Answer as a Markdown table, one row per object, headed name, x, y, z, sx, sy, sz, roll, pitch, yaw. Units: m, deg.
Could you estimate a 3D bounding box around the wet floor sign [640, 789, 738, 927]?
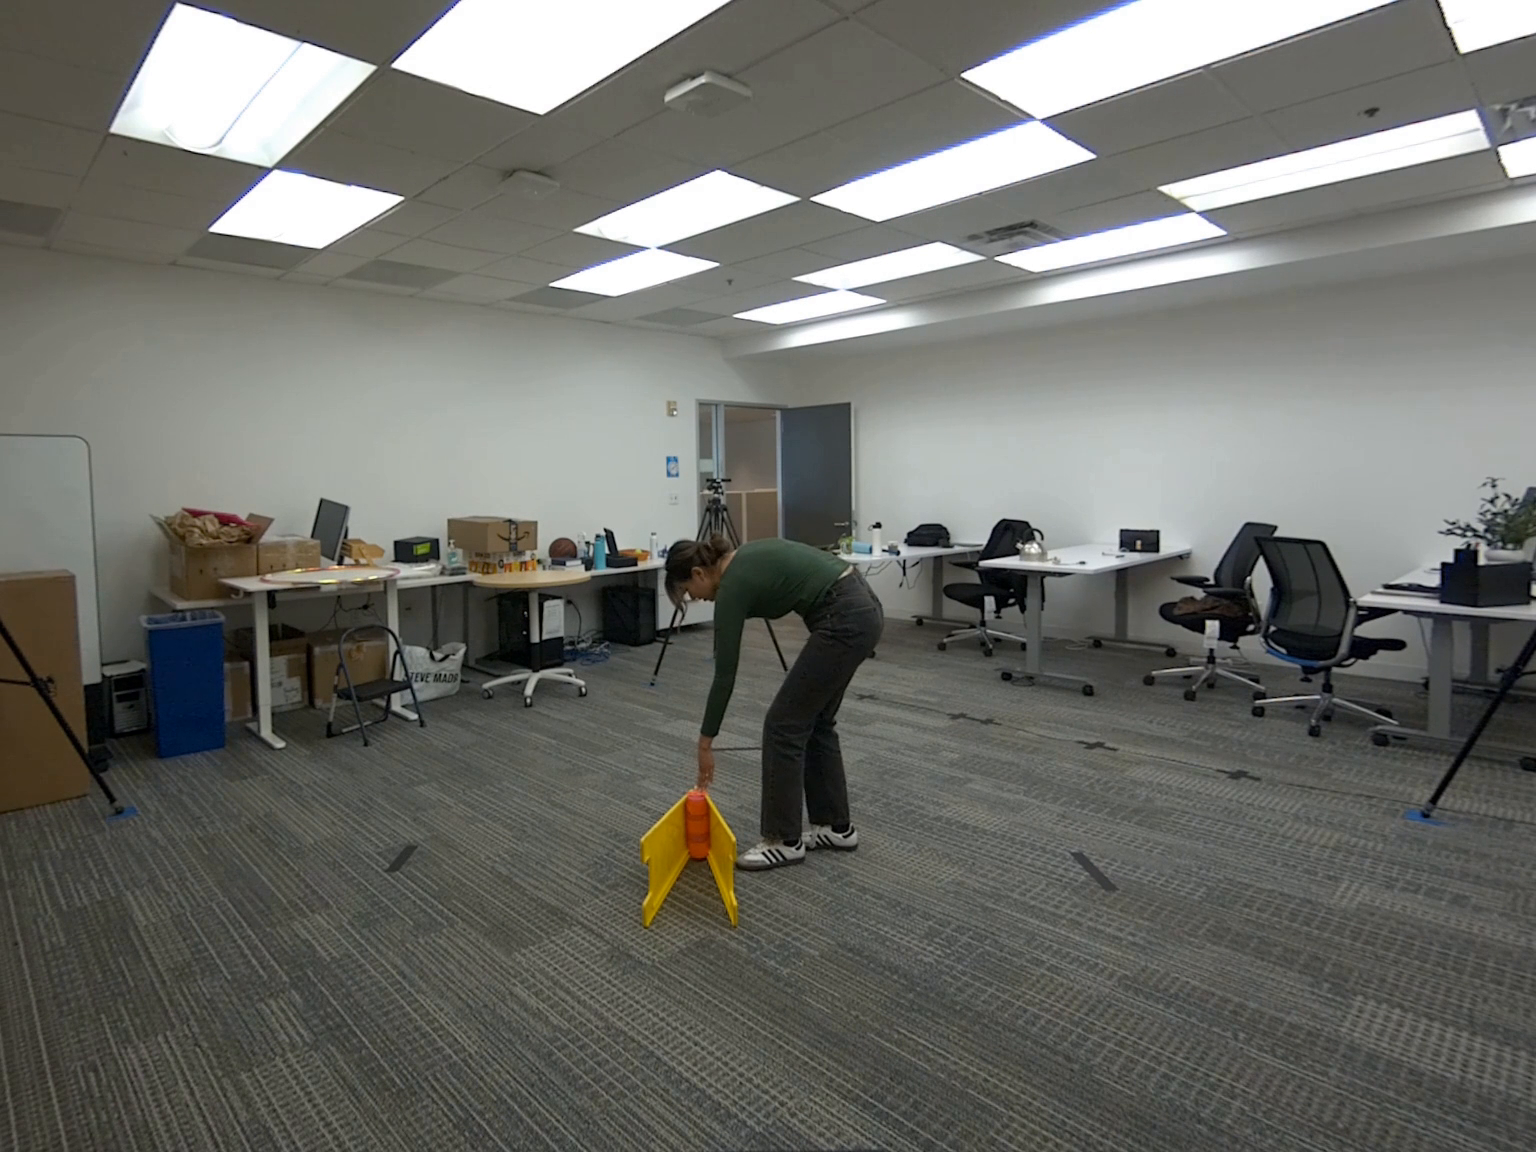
| name | x | y | z | sx | sy | sz | roll | pitch | yaw |
| --- | --- | --- | --- | --- | --- | --- | --- | --- | --- |
| wet floor sign | -0.258 | 0.930 | 2.986 | 0.289 | 0.282 | 0.648 | -2 | 3 | -2 |
